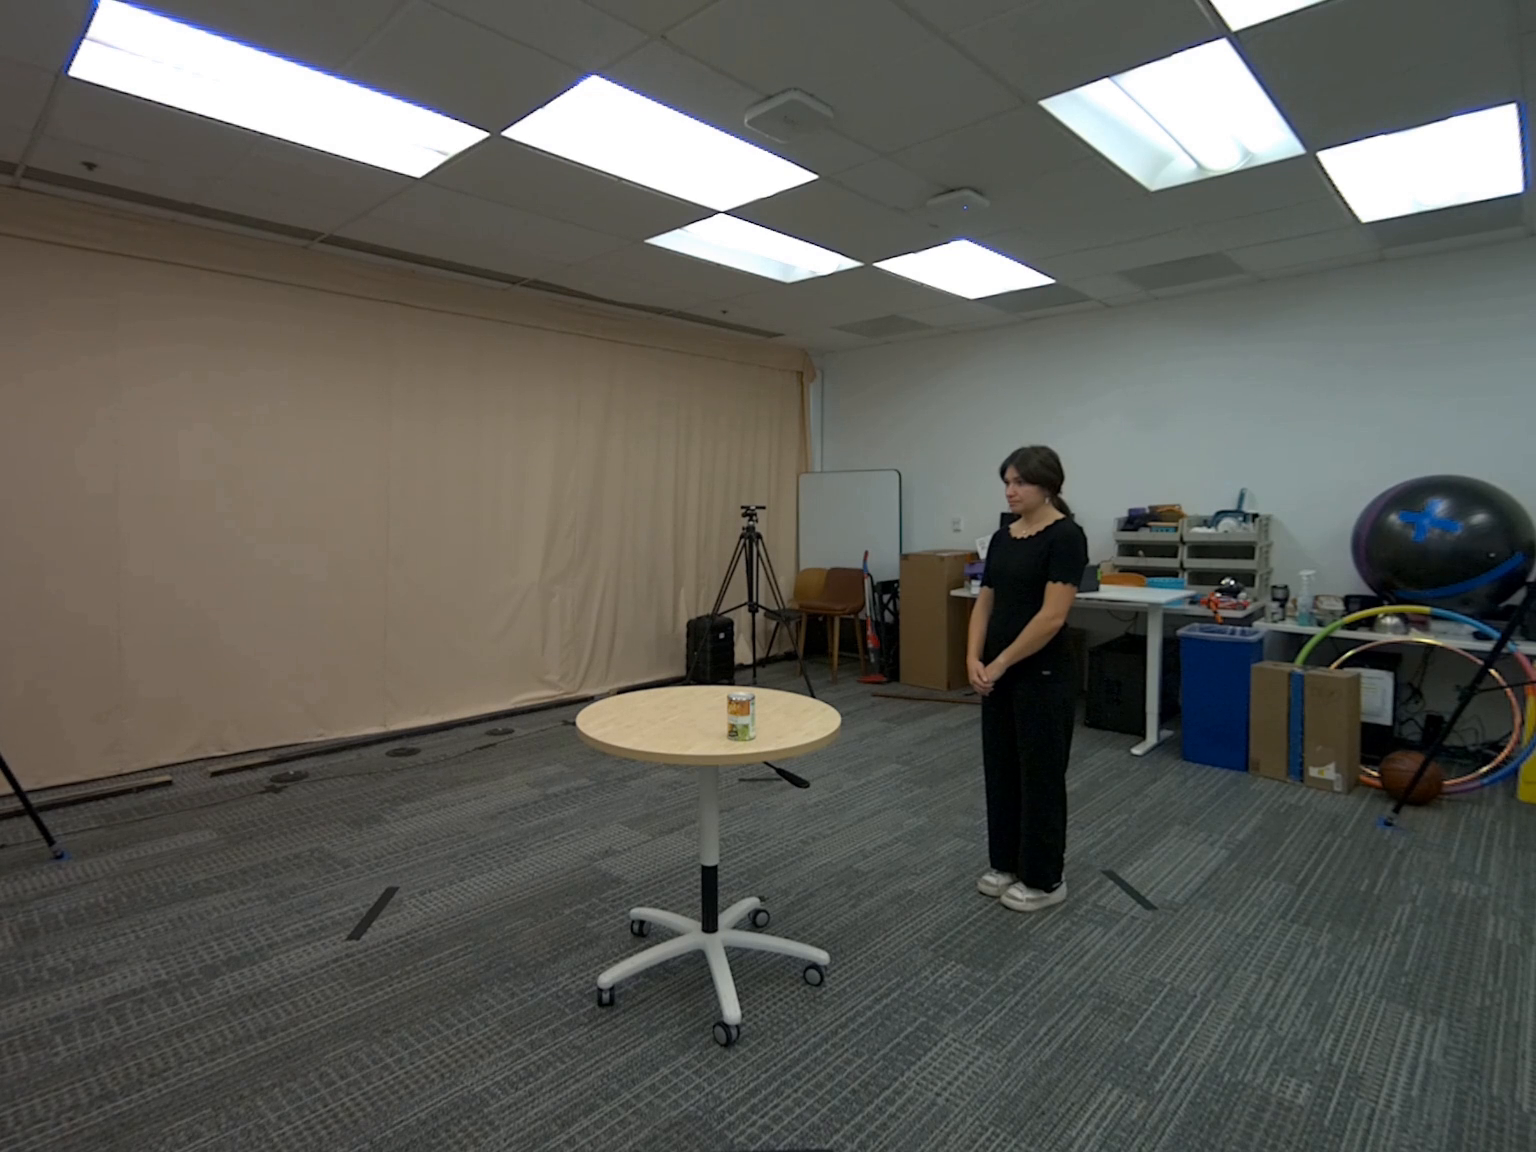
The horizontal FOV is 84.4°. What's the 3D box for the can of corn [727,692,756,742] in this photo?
[{"bbox_3d":[-0.066,0.372,2.222,0.074,0.110,0.074,-1,5,-2],"label":"can of corn"}]
